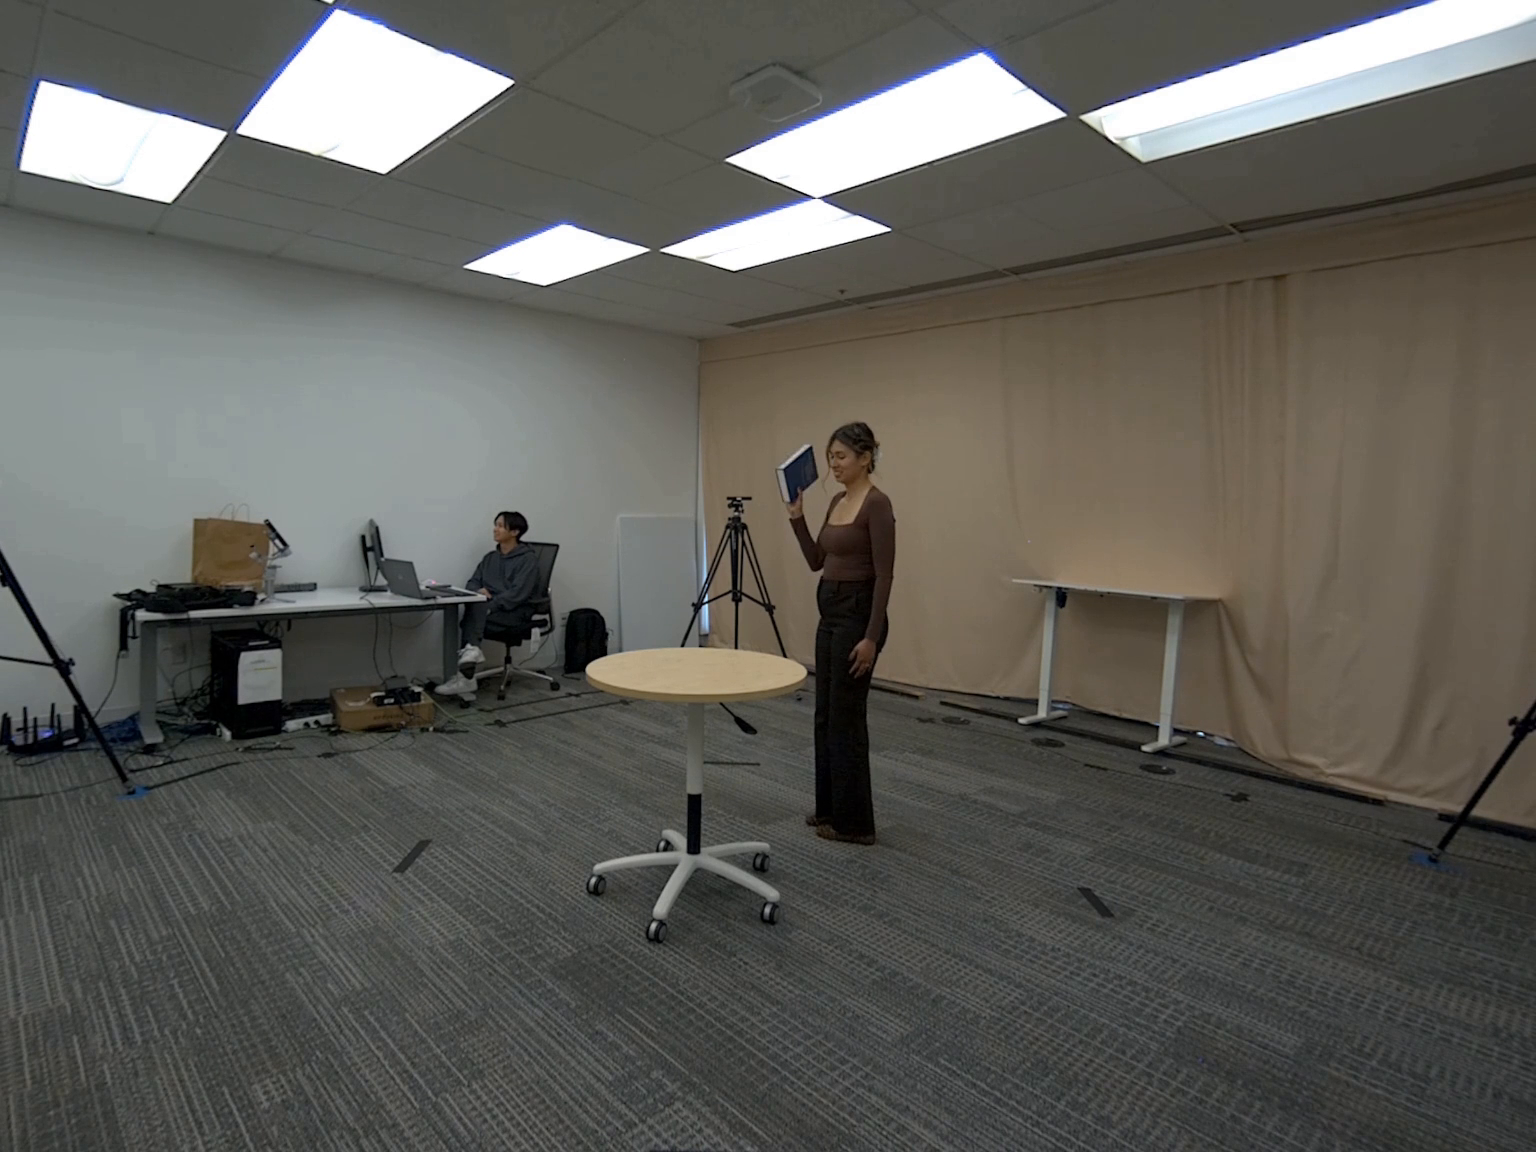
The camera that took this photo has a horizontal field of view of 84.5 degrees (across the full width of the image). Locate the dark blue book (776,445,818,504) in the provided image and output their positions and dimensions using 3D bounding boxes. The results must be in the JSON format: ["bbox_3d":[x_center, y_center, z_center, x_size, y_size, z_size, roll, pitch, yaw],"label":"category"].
[{"bbox_3d":[0.128,-0.446,3.660,0.046,0.160,0.245,7,36,34],"label":"dark blue book"}]
